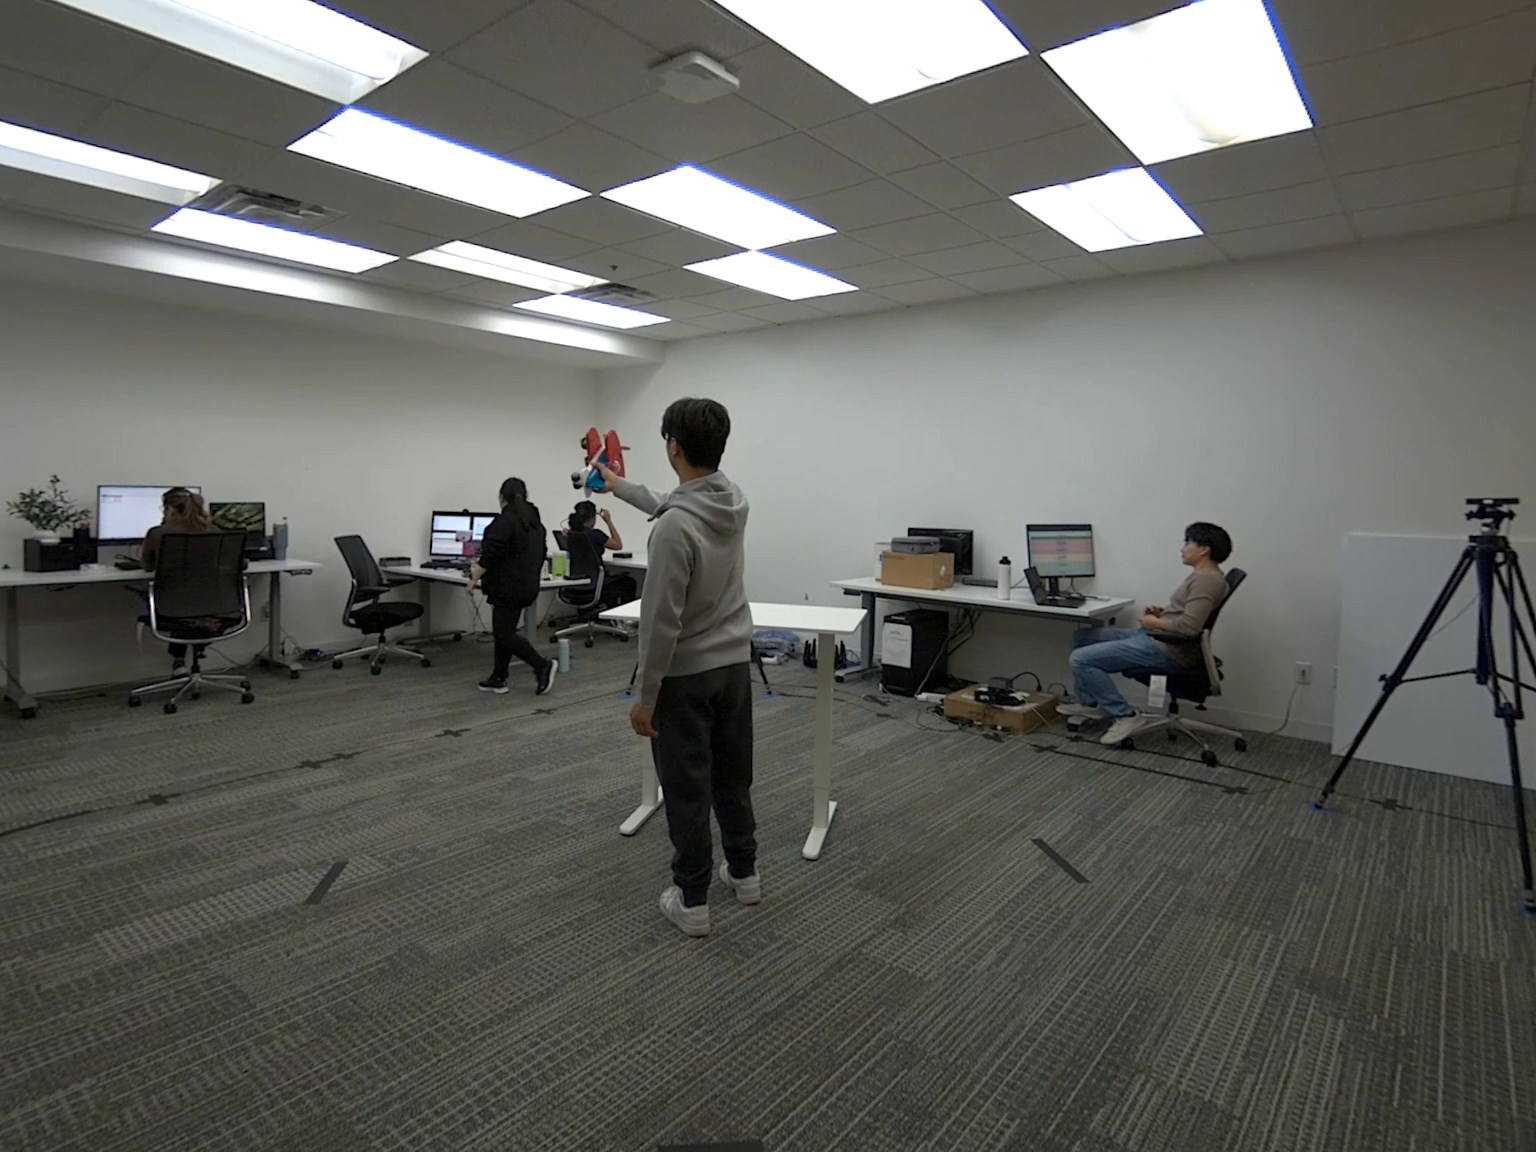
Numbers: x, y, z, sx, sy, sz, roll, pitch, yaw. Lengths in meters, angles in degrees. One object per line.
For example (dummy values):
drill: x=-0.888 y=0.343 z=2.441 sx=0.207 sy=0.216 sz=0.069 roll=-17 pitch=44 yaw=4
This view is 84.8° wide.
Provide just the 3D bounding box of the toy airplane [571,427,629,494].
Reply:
toy airplane: x=-0.634 y=-0.389 z=3.139 sx=0.157 sy=0.264 sz=0.245 roll=0 pitch=-19 yaw=5
